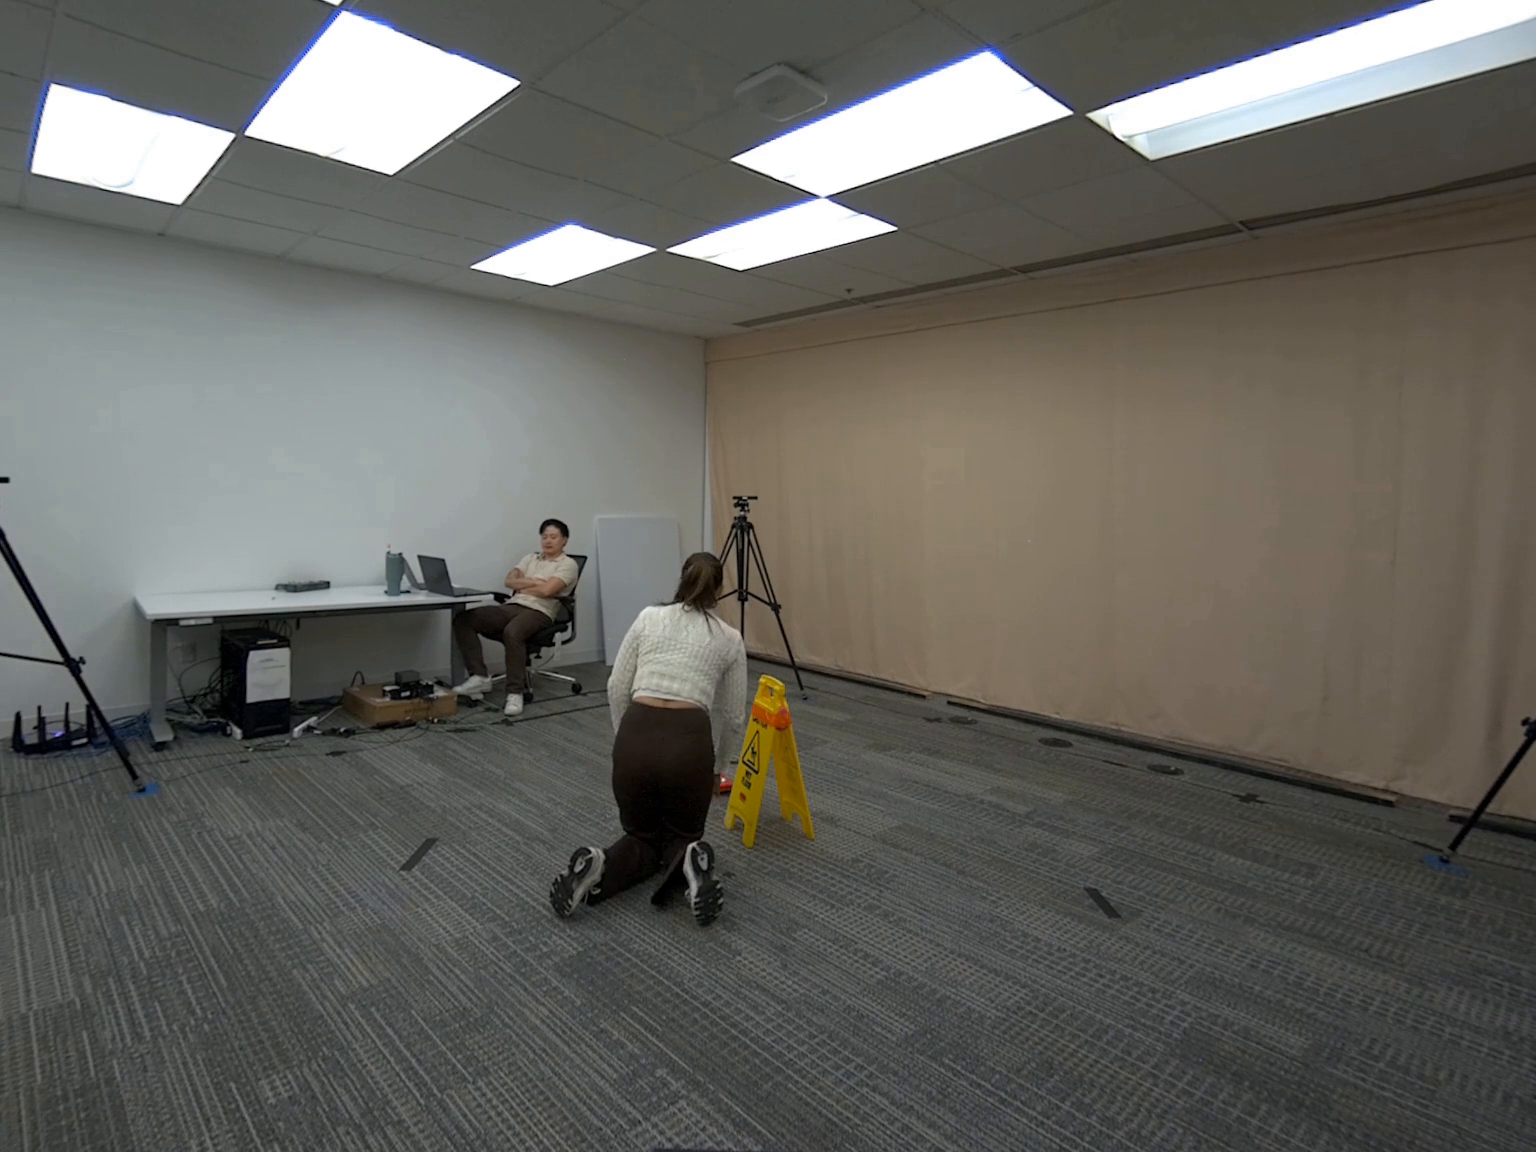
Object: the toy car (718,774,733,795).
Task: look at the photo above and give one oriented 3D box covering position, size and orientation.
[{"bbox_3d":[-0.261,0.990,4.039,0.128,0.084,0.257,2,-7,-21],"label":"toy car"}]
